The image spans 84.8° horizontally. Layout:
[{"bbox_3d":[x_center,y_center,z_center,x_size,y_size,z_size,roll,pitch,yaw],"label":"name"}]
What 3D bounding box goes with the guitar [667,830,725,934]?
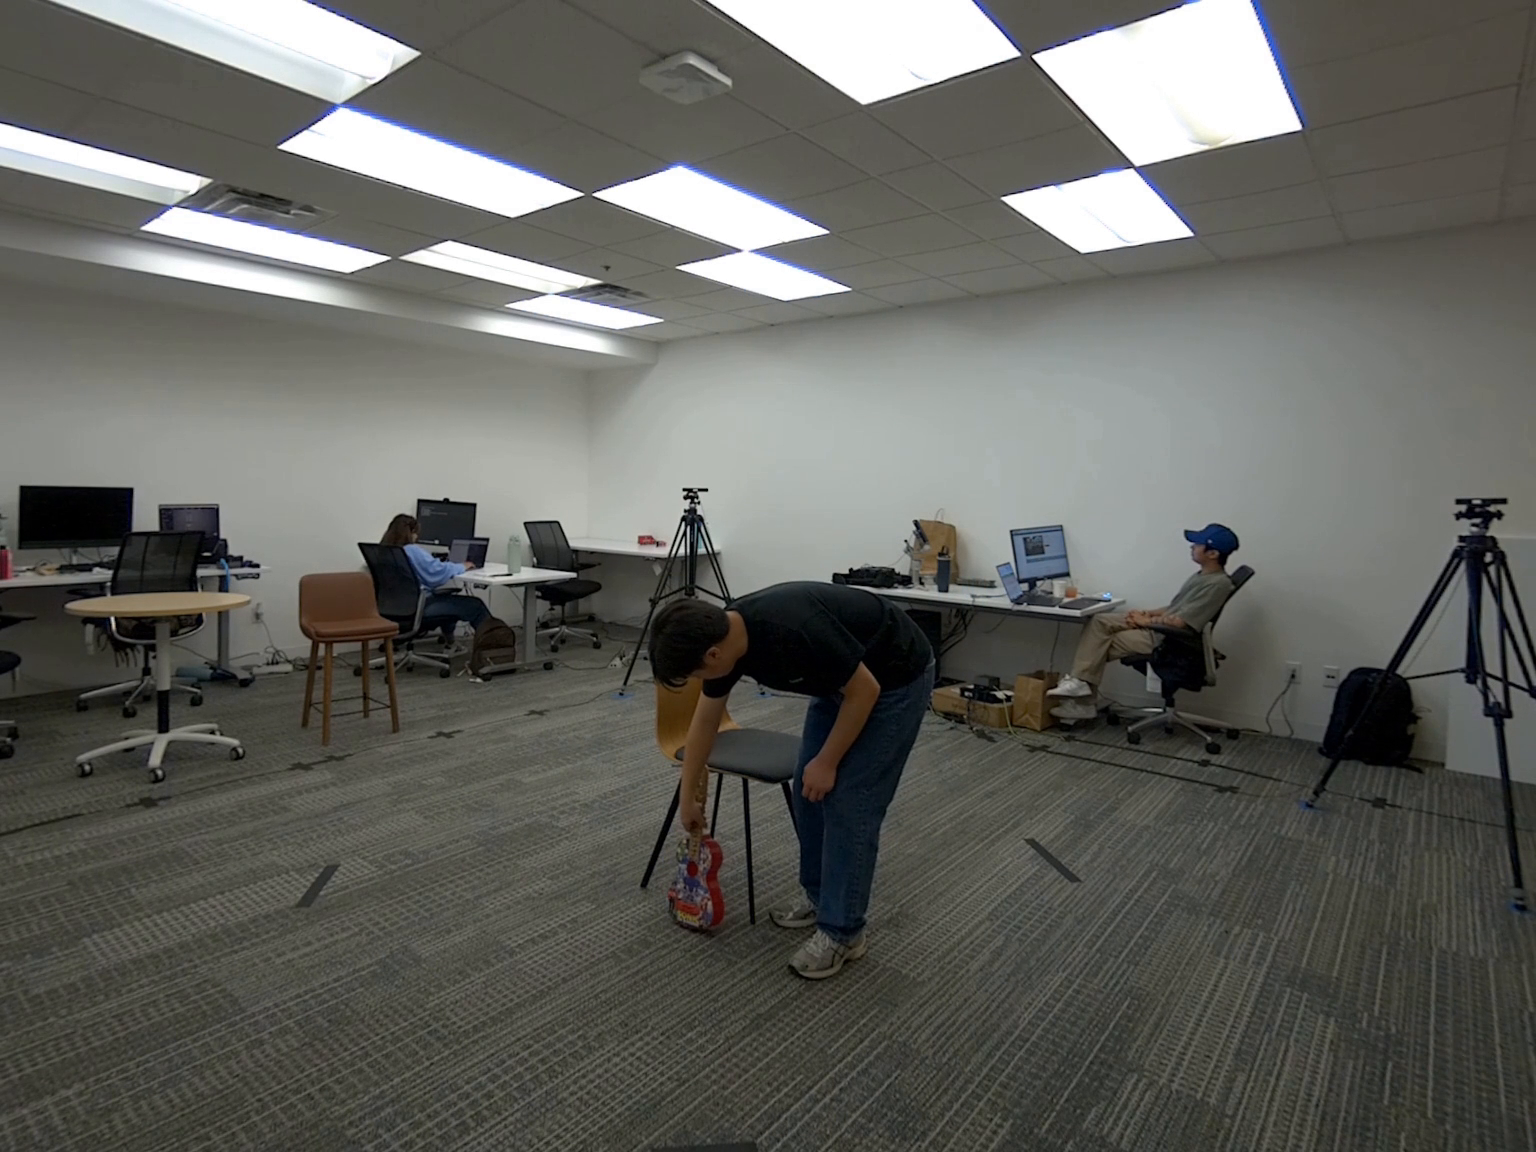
[{"bbox_3d":[-0.208,0.861,2.707,0.200,0.499,0.068,9,-4,36],"label":"guitar"}]
